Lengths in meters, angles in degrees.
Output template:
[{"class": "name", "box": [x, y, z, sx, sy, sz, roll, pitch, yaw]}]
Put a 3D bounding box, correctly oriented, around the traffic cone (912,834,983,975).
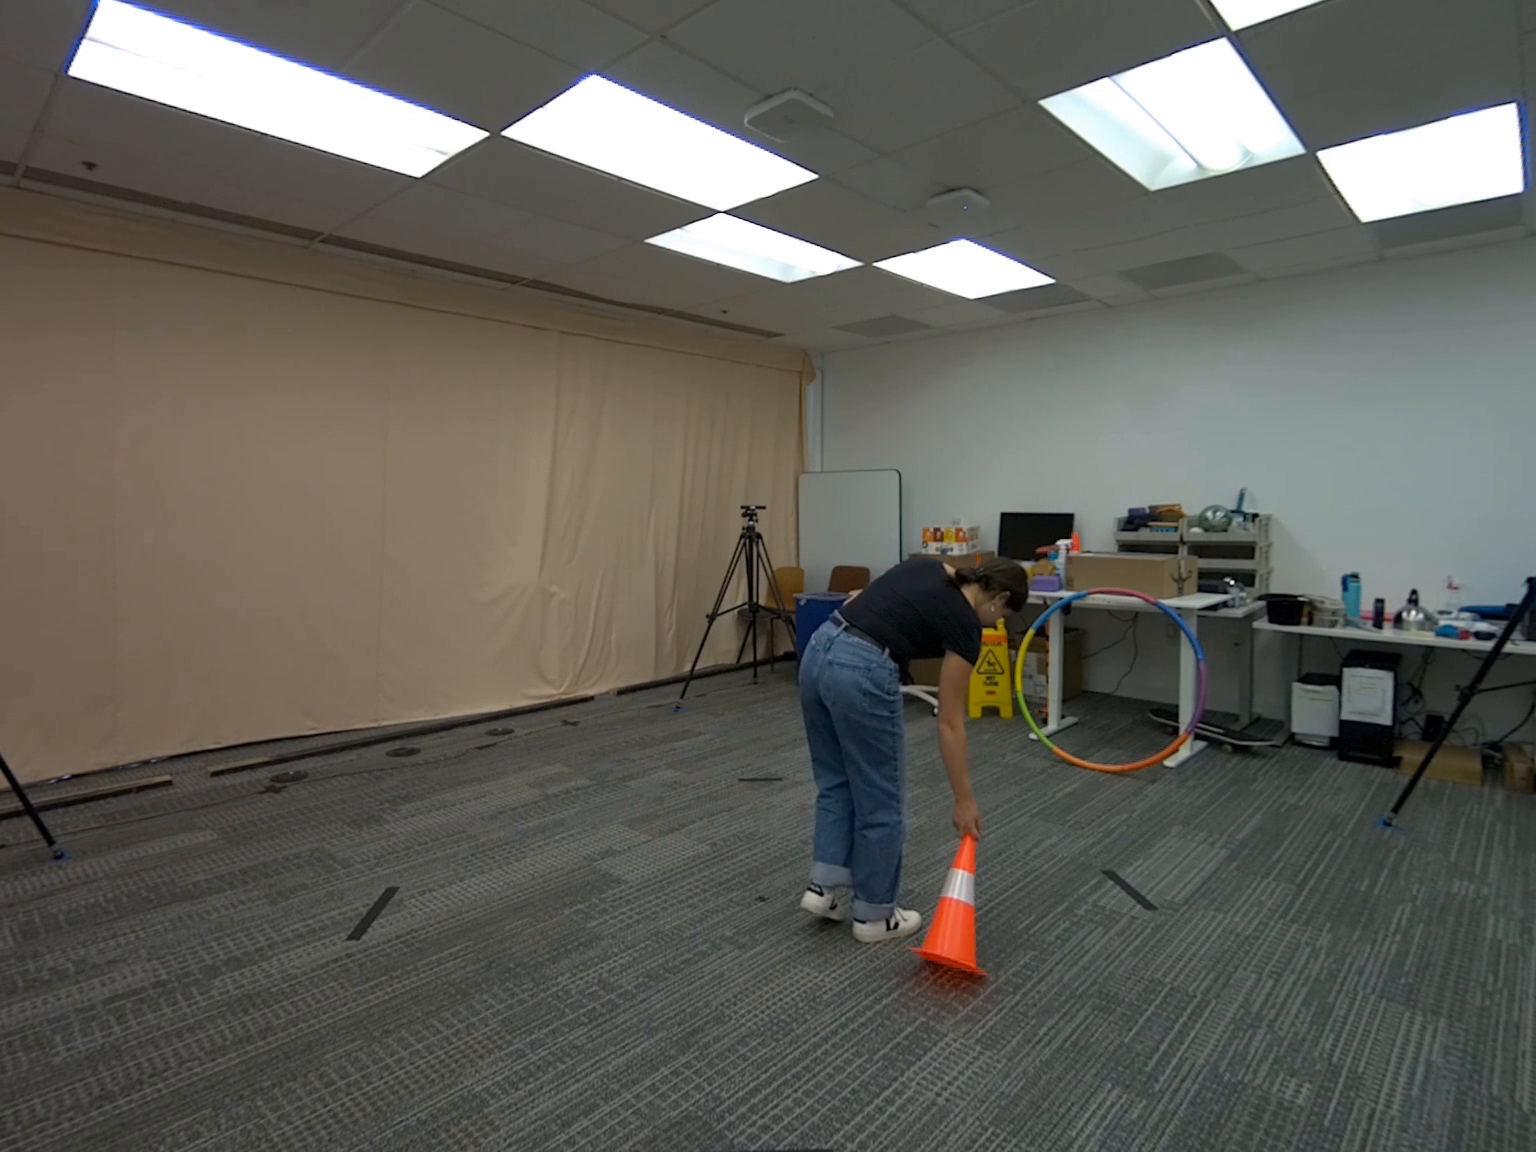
[{"class": "traffic cone", "box": [0.584, 0.970, 2.538, 0.209, 0.386, 0.198, 2, -30, 30]}]
